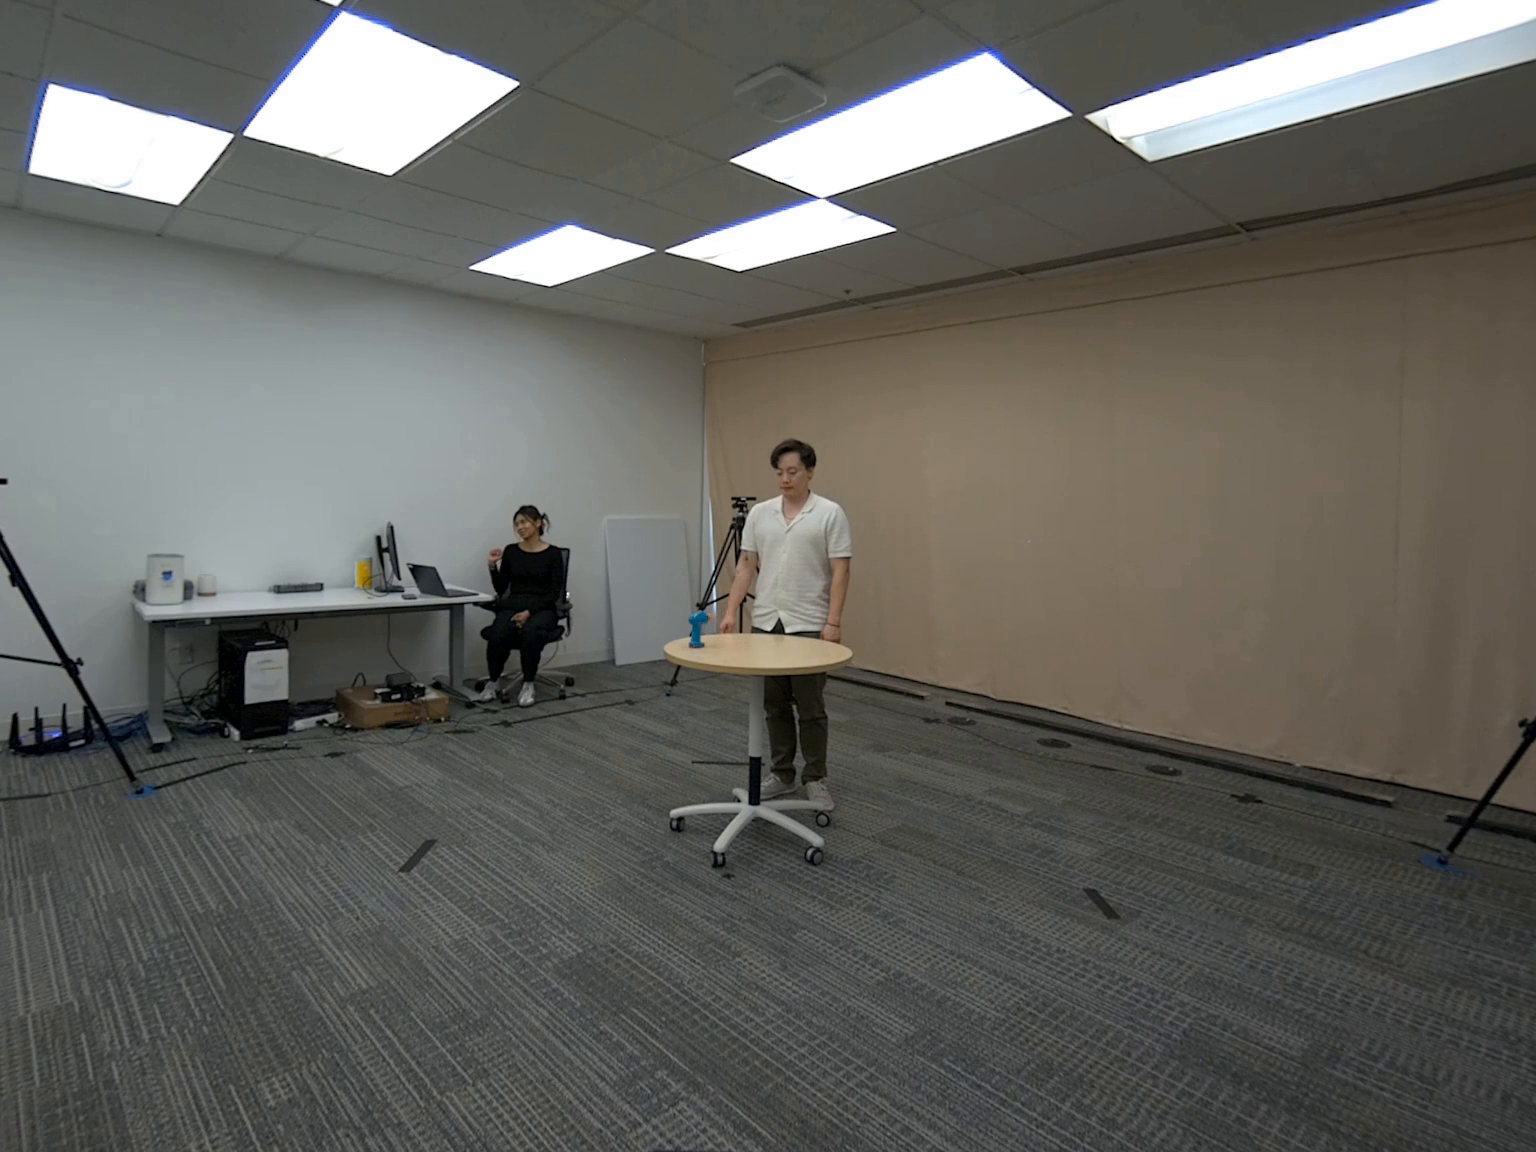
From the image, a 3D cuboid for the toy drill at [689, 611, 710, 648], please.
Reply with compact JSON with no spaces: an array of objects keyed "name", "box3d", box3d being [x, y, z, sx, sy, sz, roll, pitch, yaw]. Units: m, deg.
[{"name":"toy drill","box3d":[-0.282,0.212,3.477,0.062,0.146,0.167,2,4,21]}]
